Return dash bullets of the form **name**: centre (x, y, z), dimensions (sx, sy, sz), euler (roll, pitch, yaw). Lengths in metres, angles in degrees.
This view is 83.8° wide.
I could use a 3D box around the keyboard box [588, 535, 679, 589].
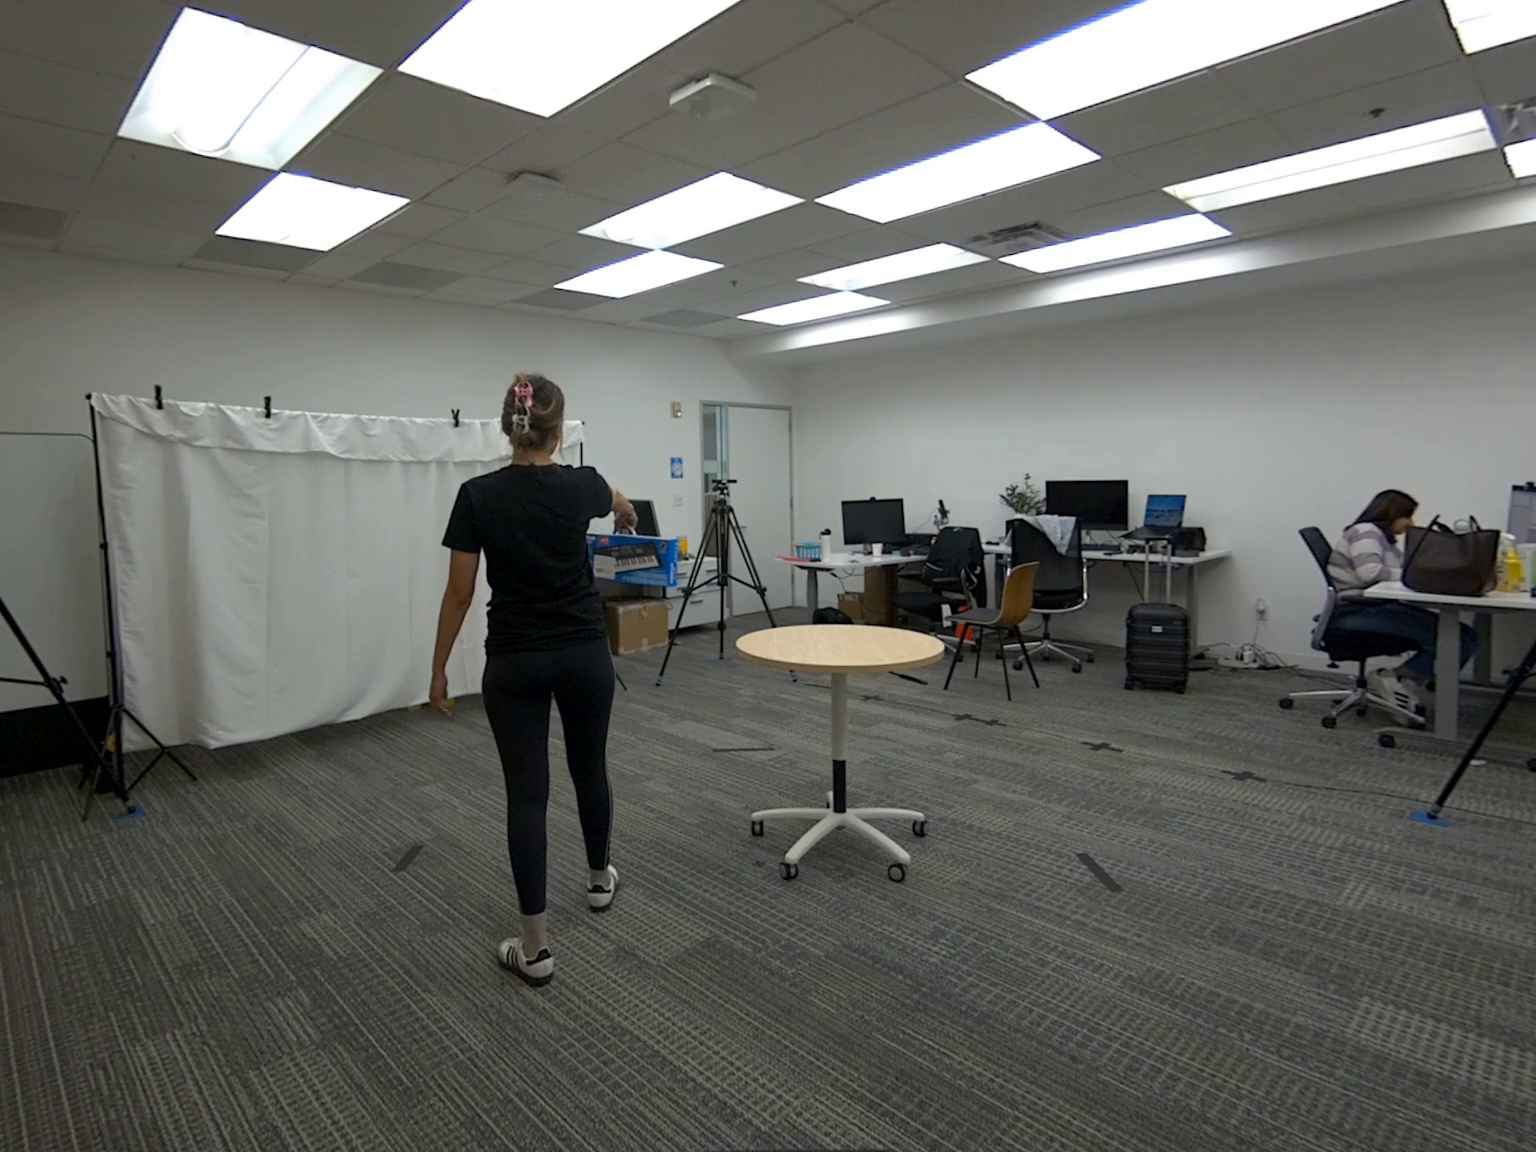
- **keyboard box**: centre (-0.534, -0.065, 3.179), dimensions (0.449, 0.175, 0.058), euler (6, 5, 30)
